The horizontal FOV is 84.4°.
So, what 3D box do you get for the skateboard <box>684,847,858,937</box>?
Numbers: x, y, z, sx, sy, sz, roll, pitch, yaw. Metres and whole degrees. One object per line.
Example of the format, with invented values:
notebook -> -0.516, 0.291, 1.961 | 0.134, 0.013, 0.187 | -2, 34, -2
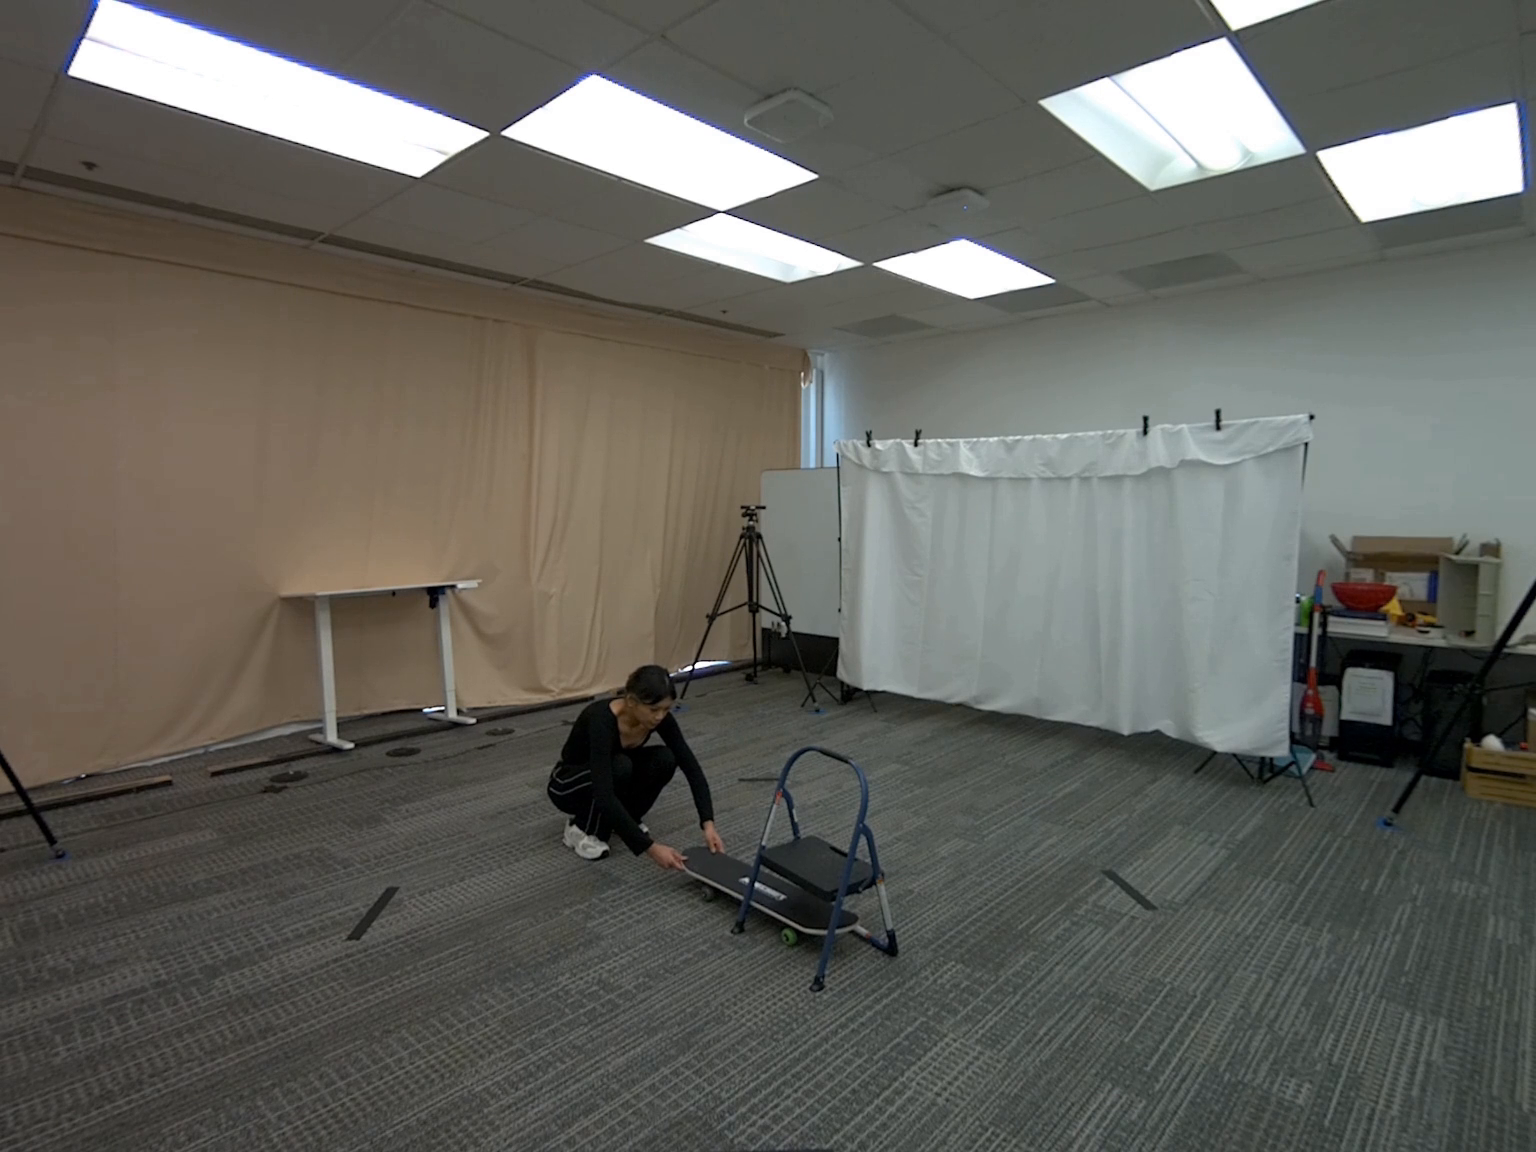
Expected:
skateboard -> -0.015, 1.097, 2.866 | 0.187, 0.110, 0.812 | -3, 5, -43
